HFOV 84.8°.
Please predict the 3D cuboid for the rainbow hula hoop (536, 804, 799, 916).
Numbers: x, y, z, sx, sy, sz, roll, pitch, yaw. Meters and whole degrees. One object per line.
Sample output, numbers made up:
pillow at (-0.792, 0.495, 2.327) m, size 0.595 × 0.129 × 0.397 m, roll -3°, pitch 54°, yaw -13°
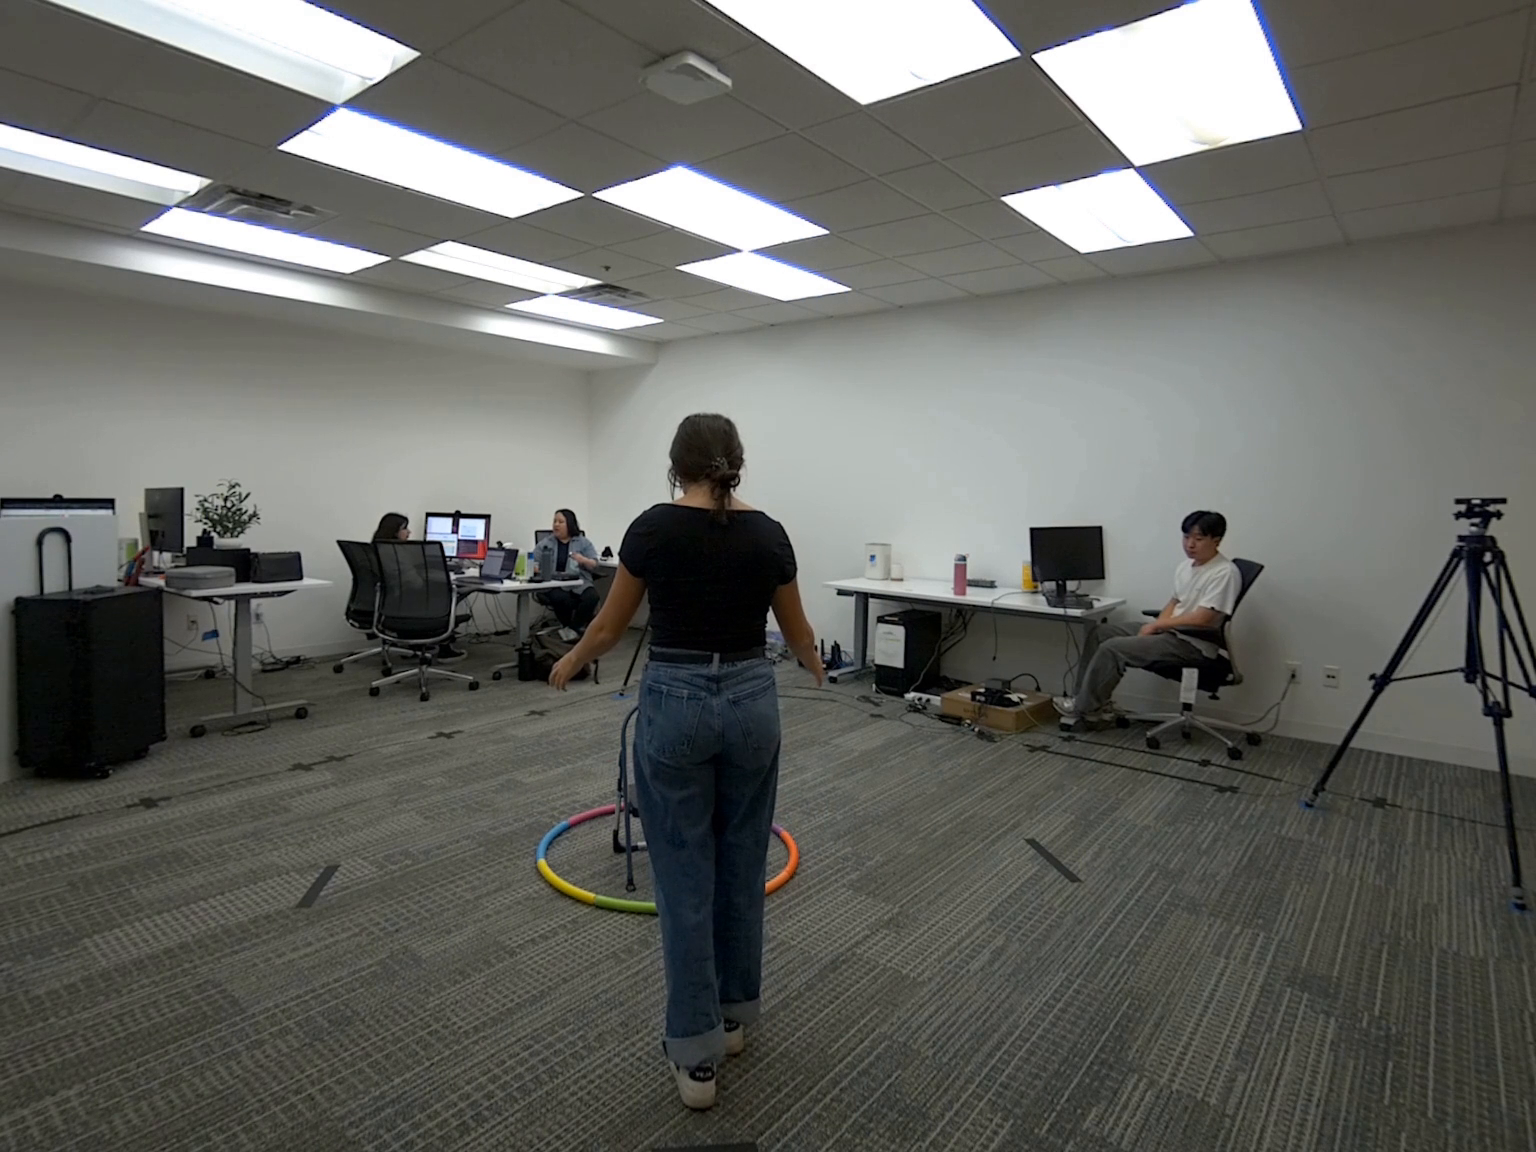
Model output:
rainbow hula hoop at (-0.379, 1.019, 3.243) m, size 0.978 × 0.035 × 0.984 m, roll 1°, pitch 5°, yaw -2°
